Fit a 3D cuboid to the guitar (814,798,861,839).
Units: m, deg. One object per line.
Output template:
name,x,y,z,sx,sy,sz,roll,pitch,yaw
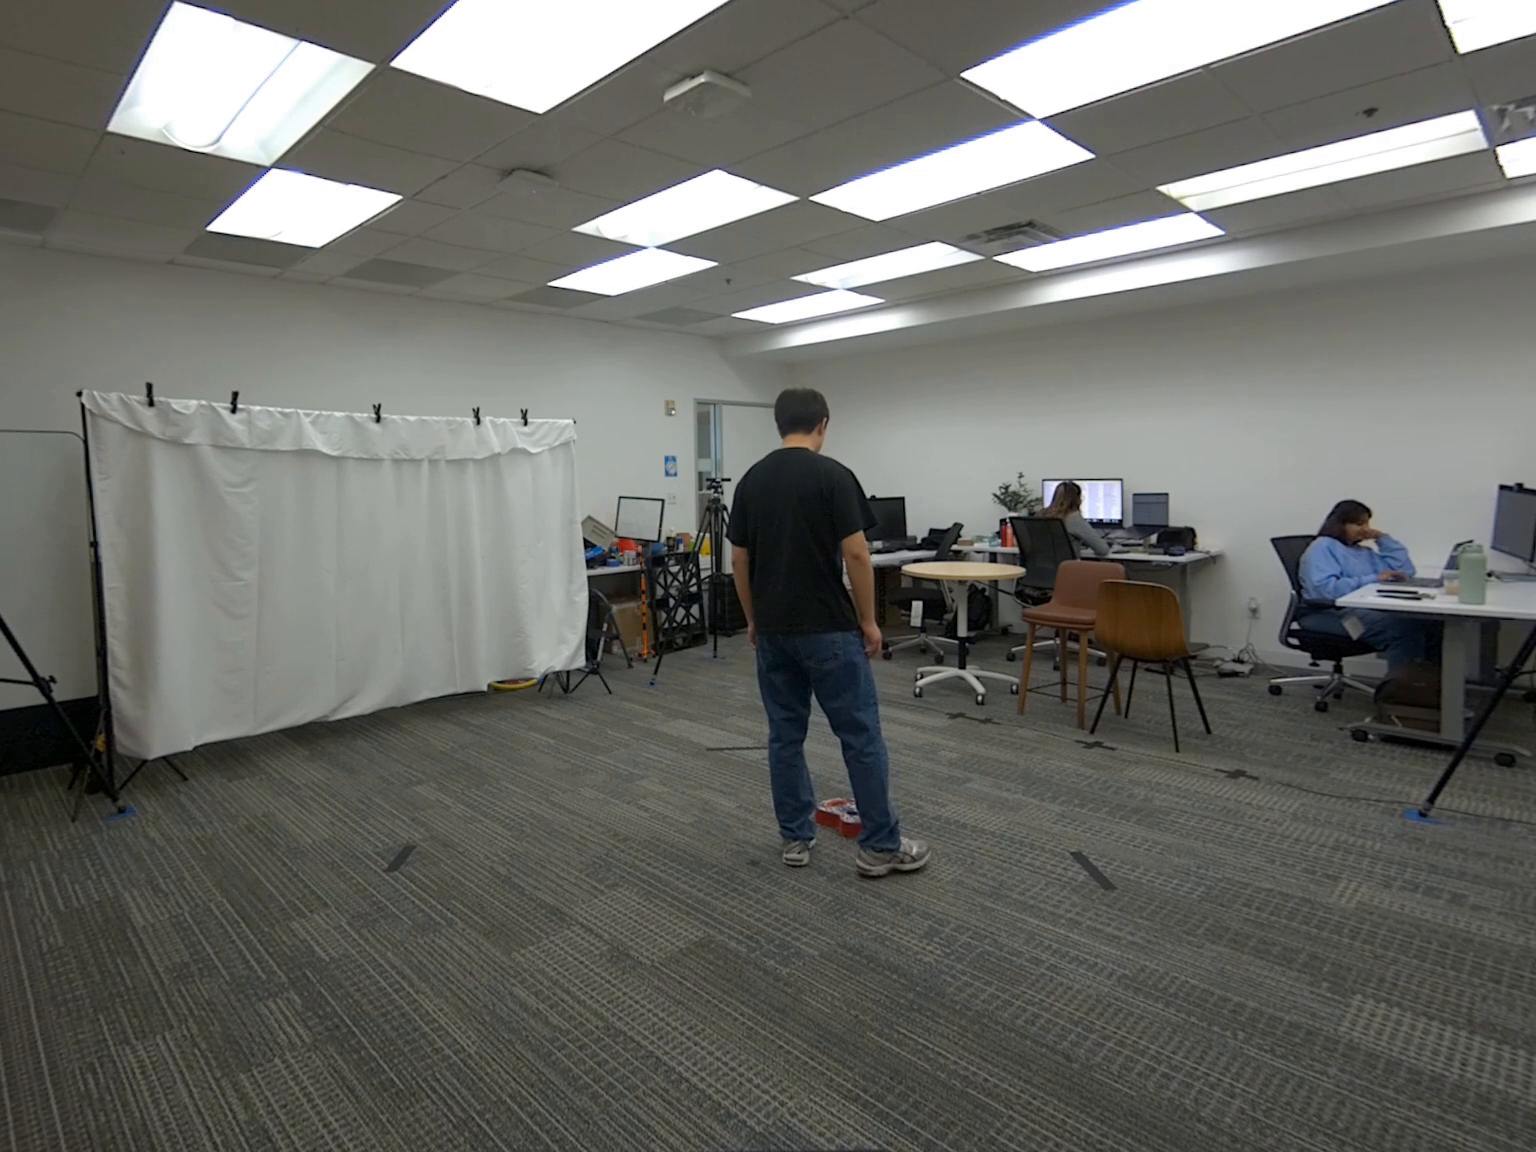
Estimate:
guitar,0.348,0.977,3.329,0.190,0.070,0.508,-2,6,-20
